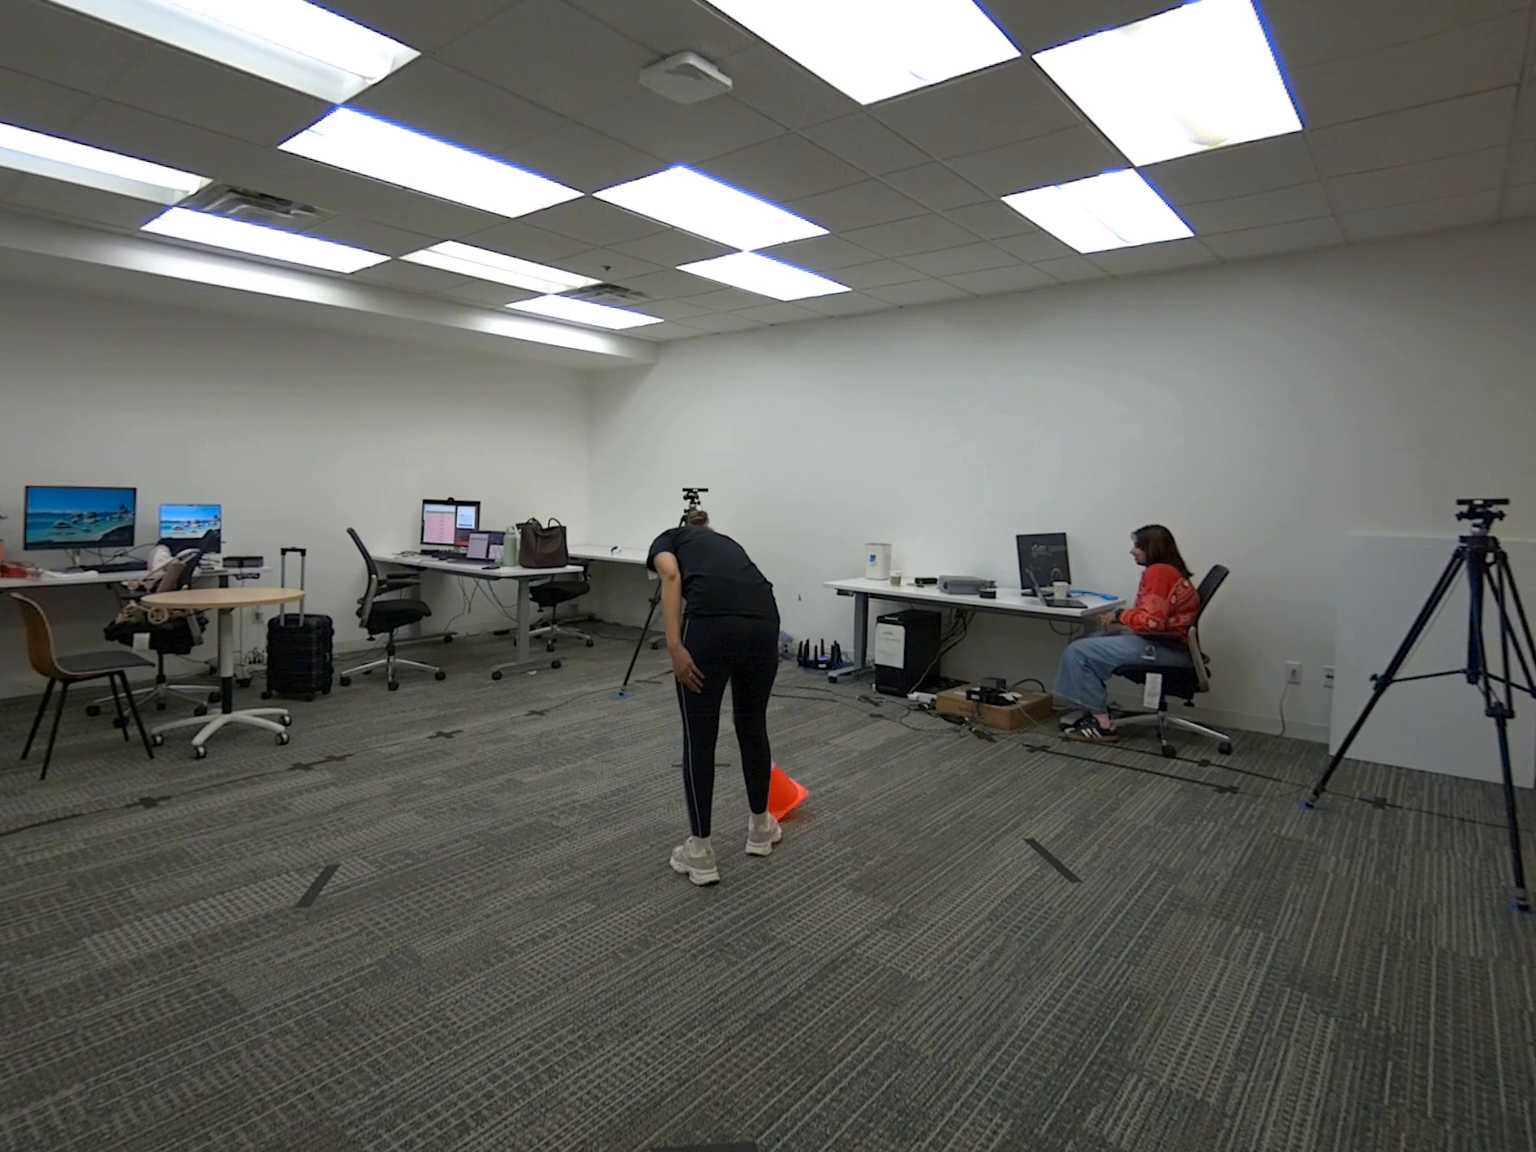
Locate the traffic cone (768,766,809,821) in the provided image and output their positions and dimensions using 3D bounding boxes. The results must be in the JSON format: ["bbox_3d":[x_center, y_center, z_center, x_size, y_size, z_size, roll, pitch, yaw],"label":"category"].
[{"bbox_3d":[-0.037,0.816,3.637,0.204,0.377,0.208,-36,13,-19],"label":"traffic cone"}]
